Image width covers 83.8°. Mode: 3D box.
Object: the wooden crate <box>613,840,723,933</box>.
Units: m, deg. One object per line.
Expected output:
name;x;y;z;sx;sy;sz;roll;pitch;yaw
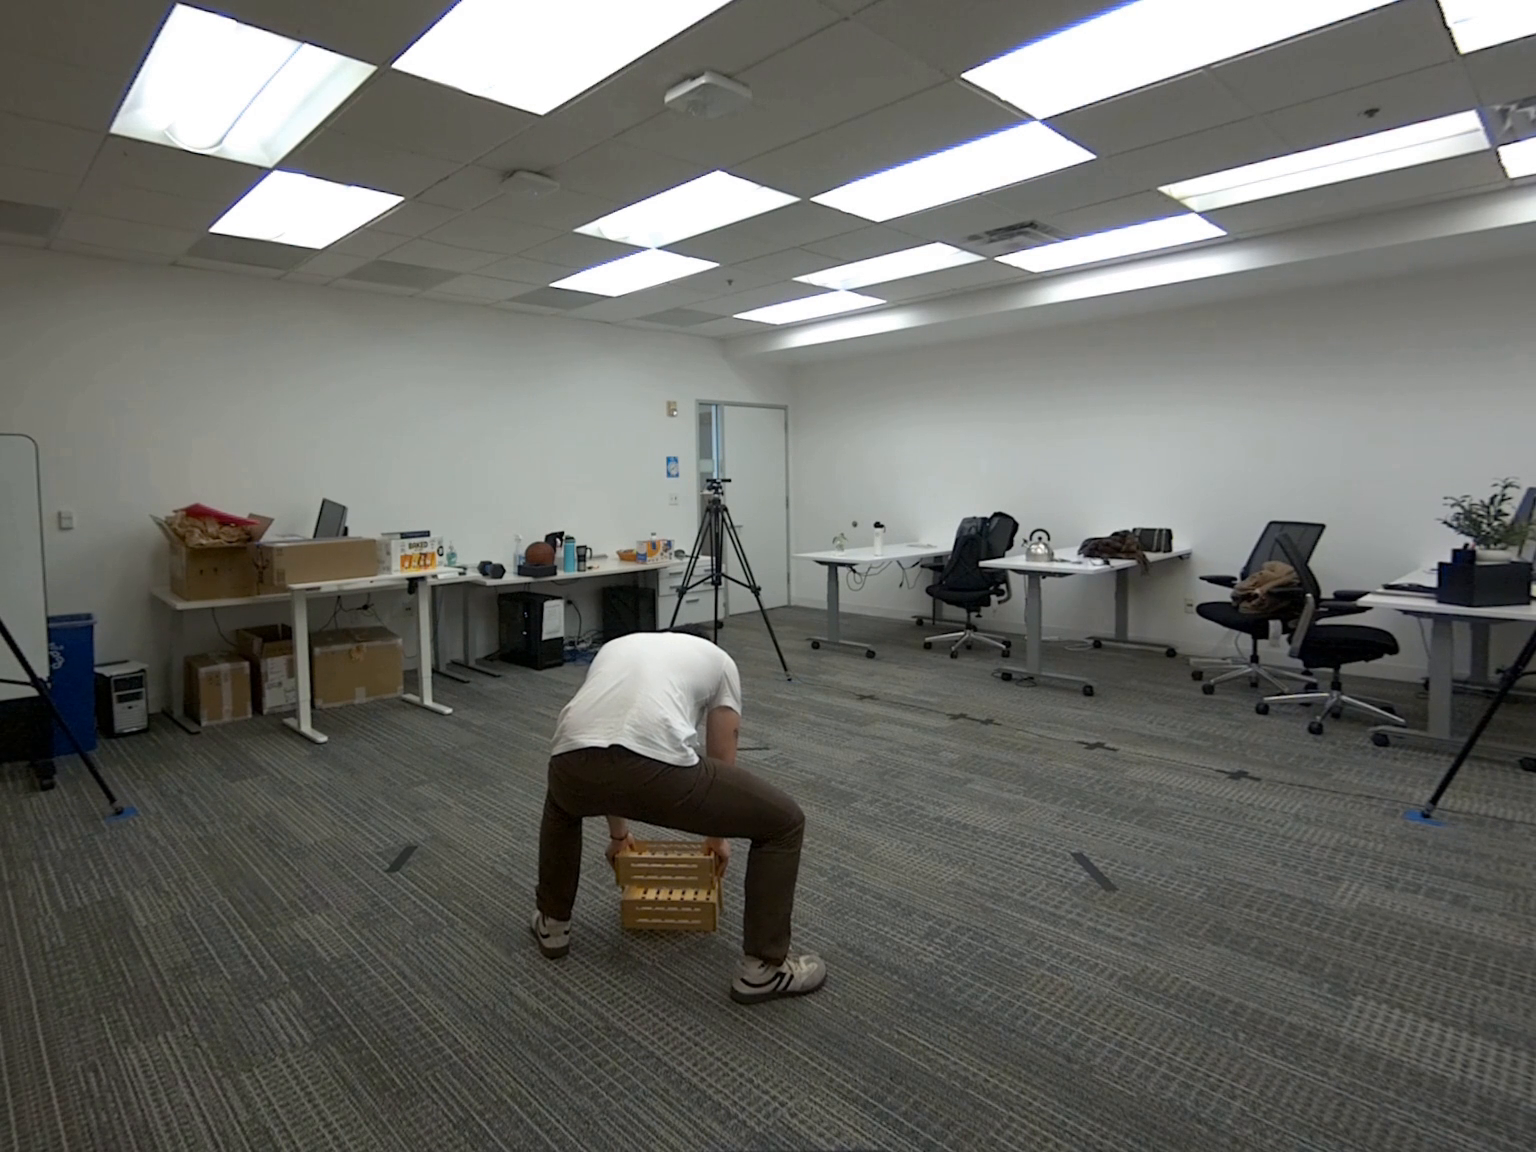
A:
wooden crate;-0.307;0.959;2.748;0.326;0.272;0.302;-1;6;3
